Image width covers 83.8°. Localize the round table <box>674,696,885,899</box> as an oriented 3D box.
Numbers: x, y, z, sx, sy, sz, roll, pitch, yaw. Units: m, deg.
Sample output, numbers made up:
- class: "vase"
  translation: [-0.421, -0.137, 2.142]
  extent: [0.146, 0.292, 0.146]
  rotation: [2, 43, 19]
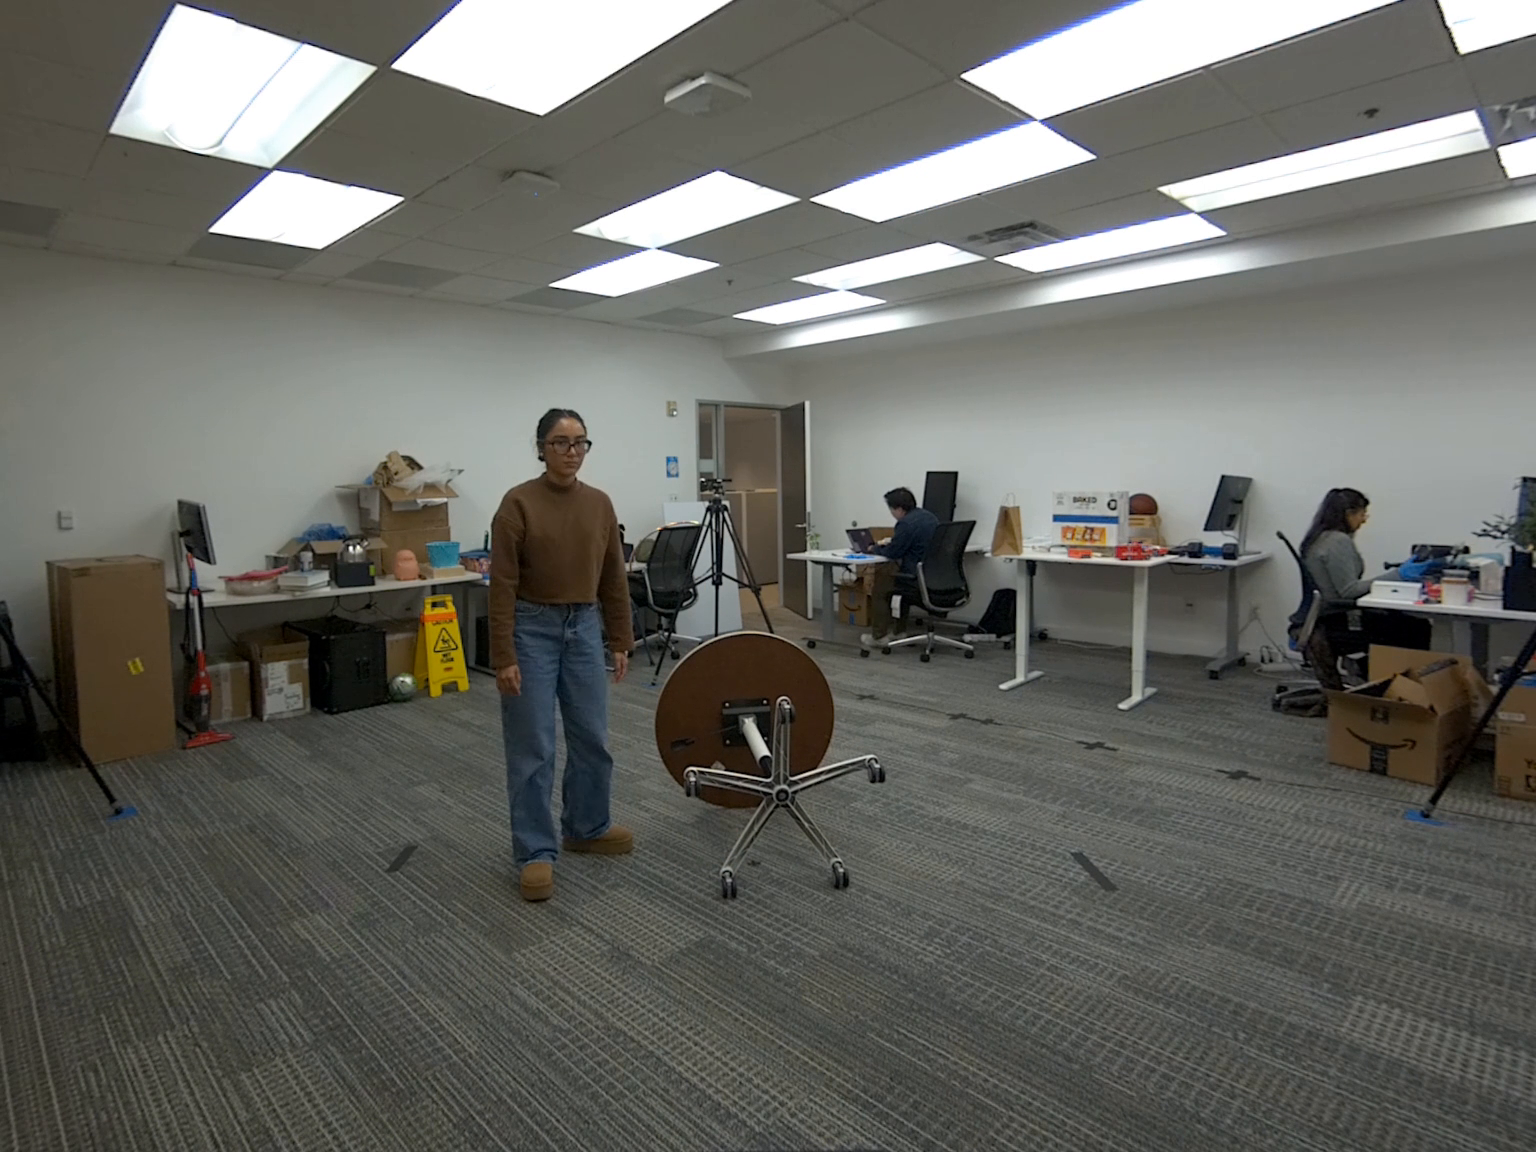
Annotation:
- class: "round table"
  translation: [-0.023, 0.690, 3.210]
  extent: [0.757, 0.757, 0.808]
  rotation: [-2, 10, -10]
